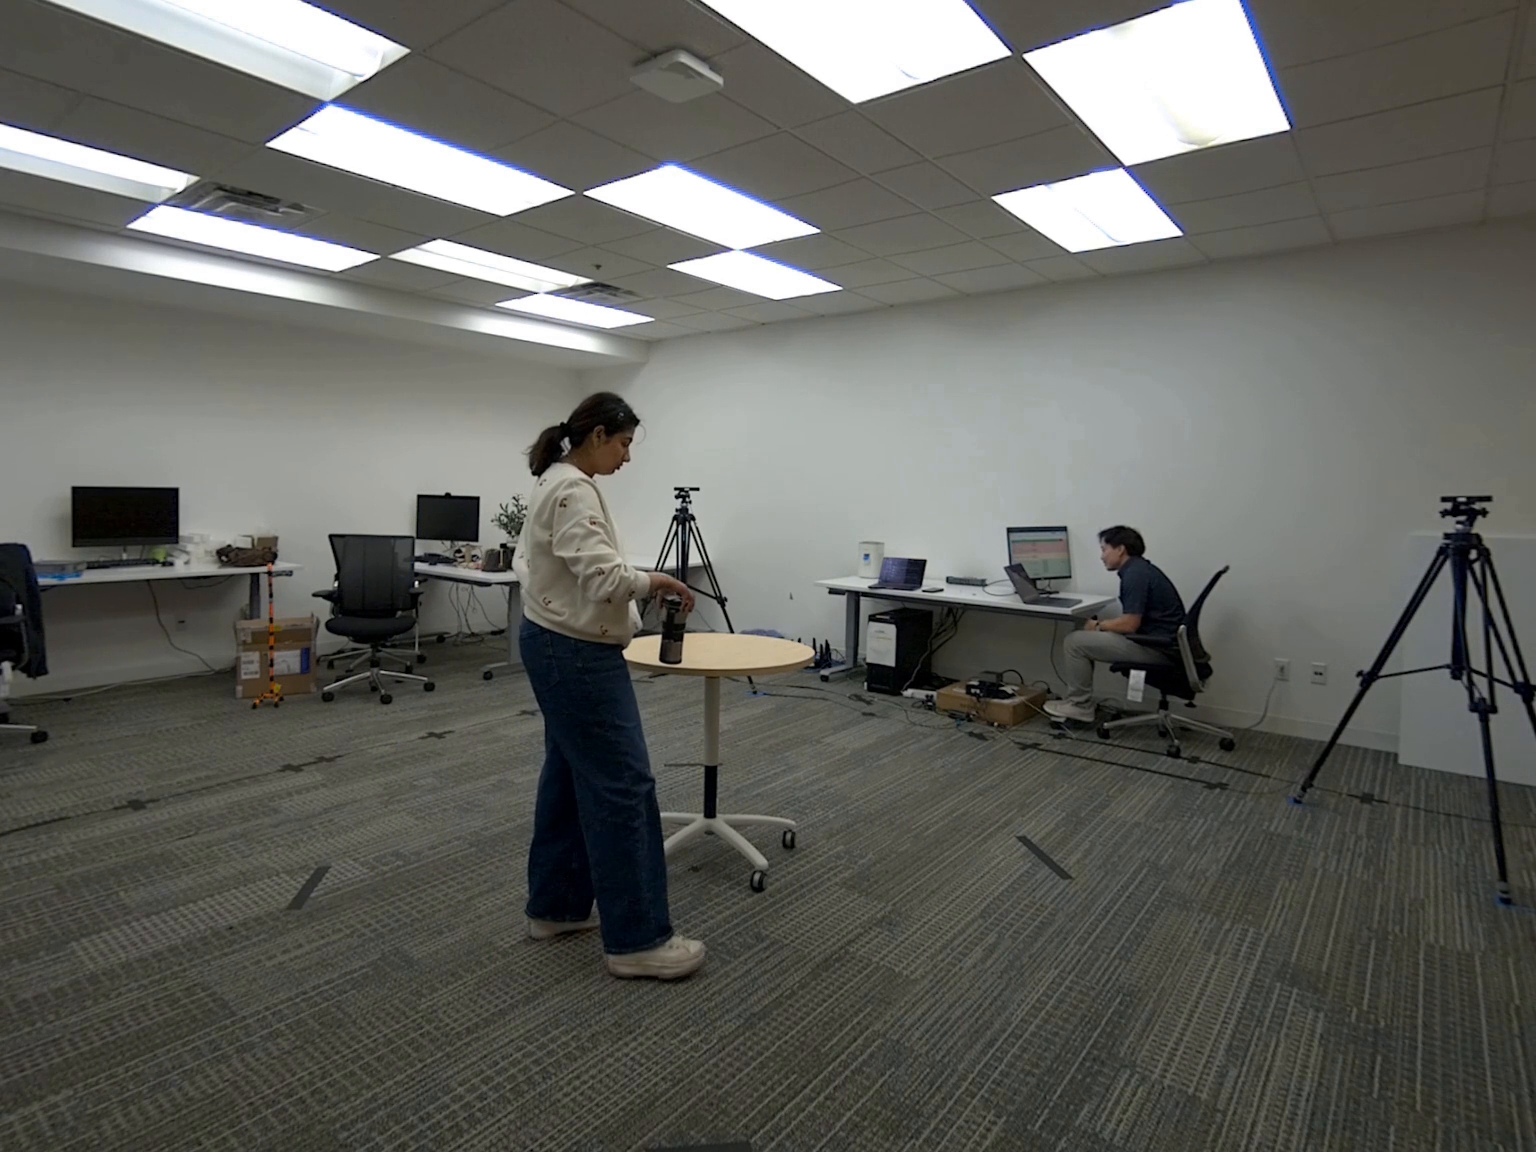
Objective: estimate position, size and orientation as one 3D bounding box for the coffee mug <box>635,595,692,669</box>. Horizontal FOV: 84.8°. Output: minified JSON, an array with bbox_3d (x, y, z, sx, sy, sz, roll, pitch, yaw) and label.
[{"bbox_3d":[-0.323,0.172,2.605,0.118,0.202,0.091,5,9,-32],"label":"coffee mug"}]
